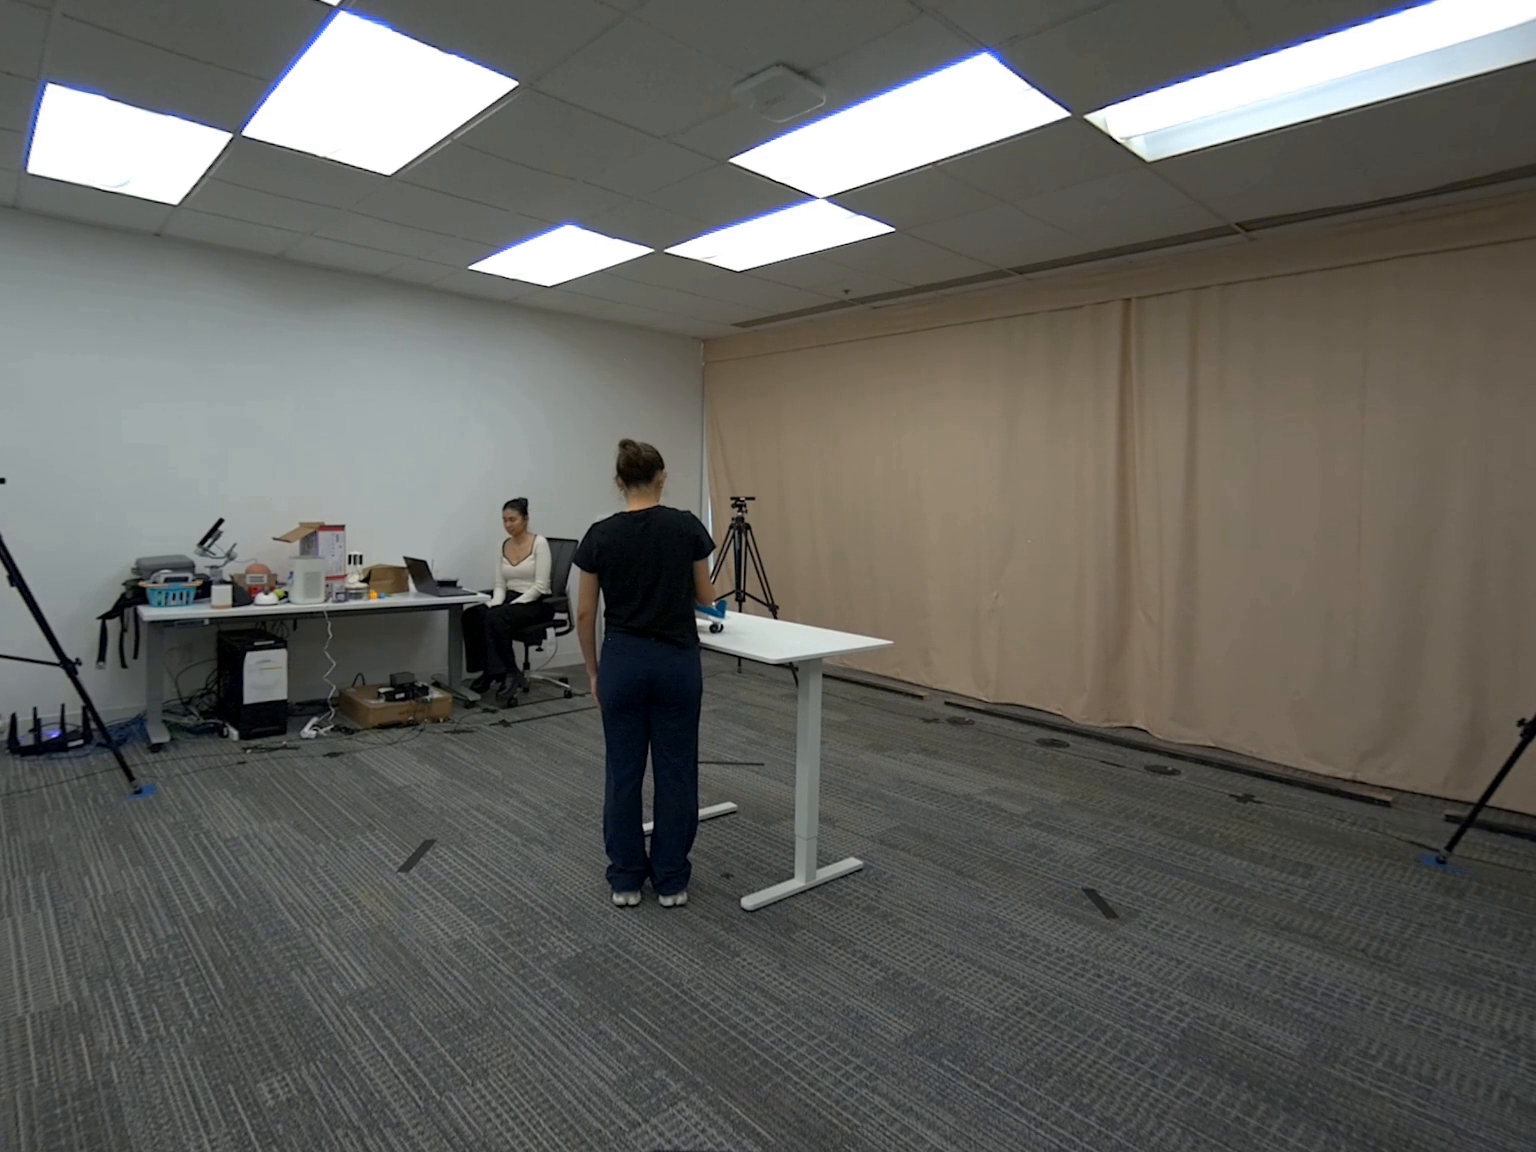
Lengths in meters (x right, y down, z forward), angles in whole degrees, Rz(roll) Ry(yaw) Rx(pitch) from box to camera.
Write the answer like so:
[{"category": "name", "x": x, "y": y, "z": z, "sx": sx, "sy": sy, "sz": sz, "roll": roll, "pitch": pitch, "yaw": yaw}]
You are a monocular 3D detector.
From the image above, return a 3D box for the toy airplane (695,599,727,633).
[{"category": "toy airplane", "x": -0.271, "y": 0.136, "z": 3.245, "sx": 0.260, "sy": 0.156, "sz": 0.251, "roll": 1, "pitch": 4, "yaw": 3}]
